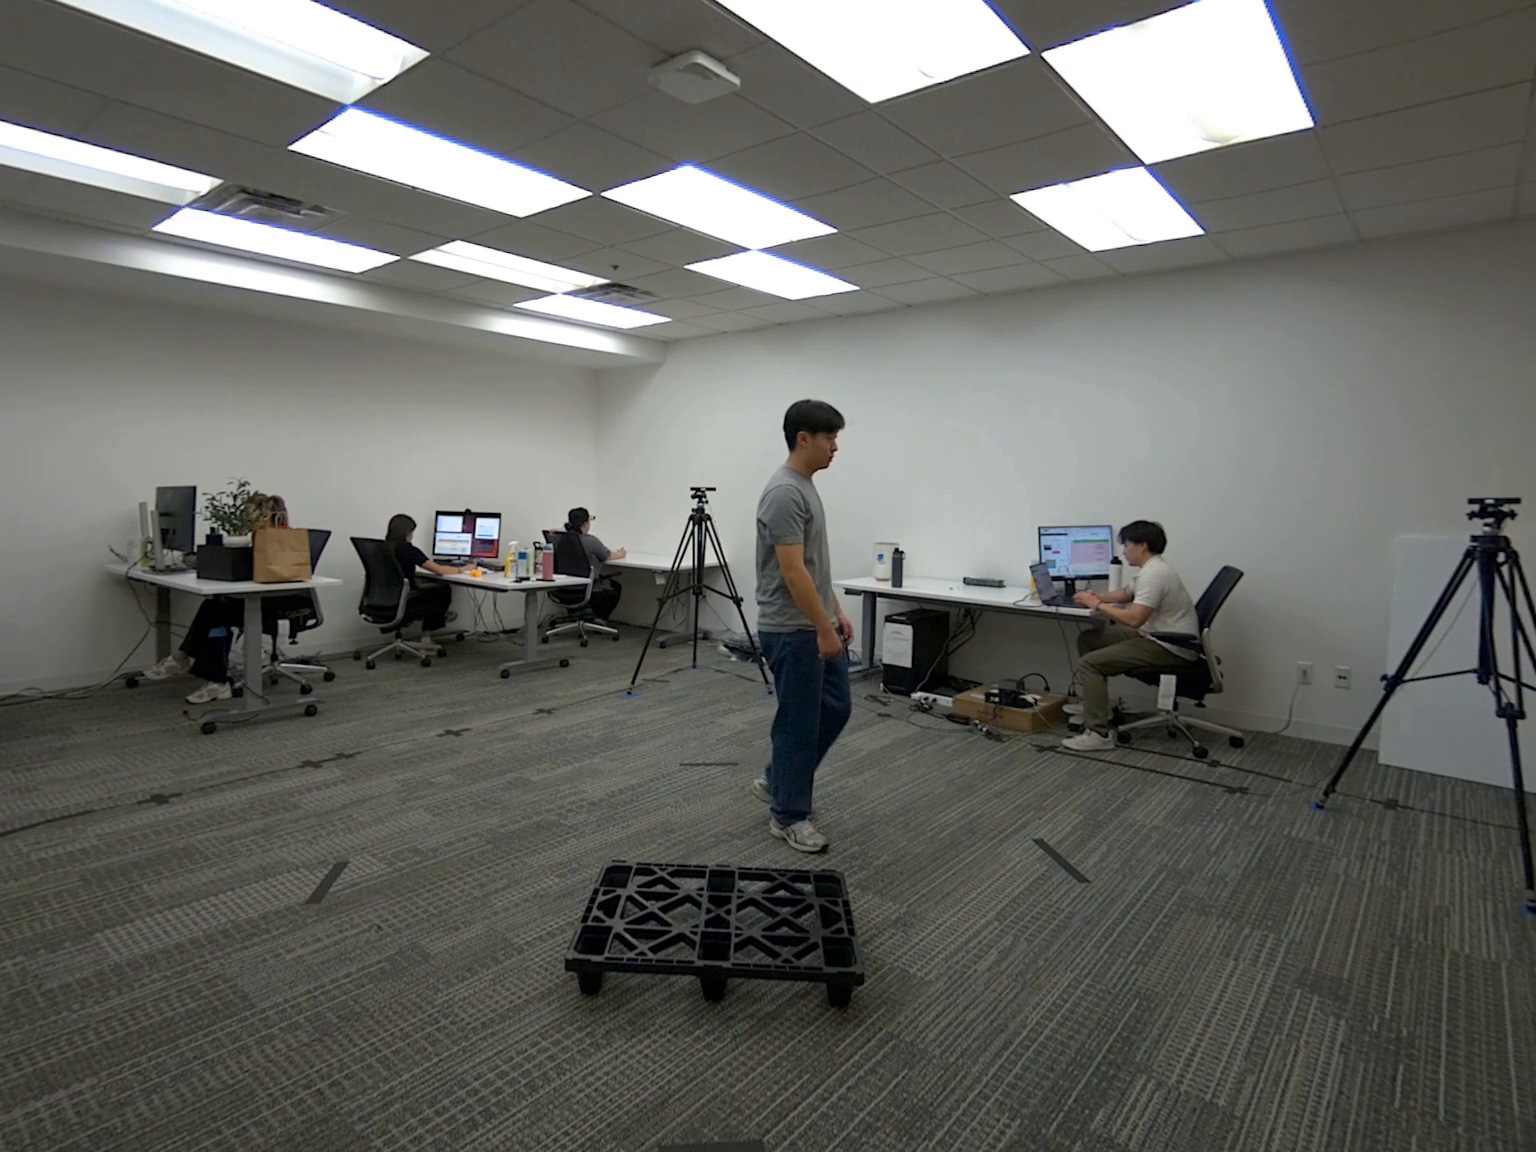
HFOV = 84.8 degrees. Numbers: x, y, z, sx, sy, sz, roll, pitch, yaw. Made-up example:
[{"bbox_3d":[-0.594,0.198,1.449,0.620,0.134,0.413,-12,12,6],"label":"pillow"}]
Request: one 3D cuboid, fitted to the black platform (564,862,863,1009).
[{"bbox_3d":[-0.161,1.053,2.537,0.808,0.143,0.606,2,5,2],"label":"black platform"}]
